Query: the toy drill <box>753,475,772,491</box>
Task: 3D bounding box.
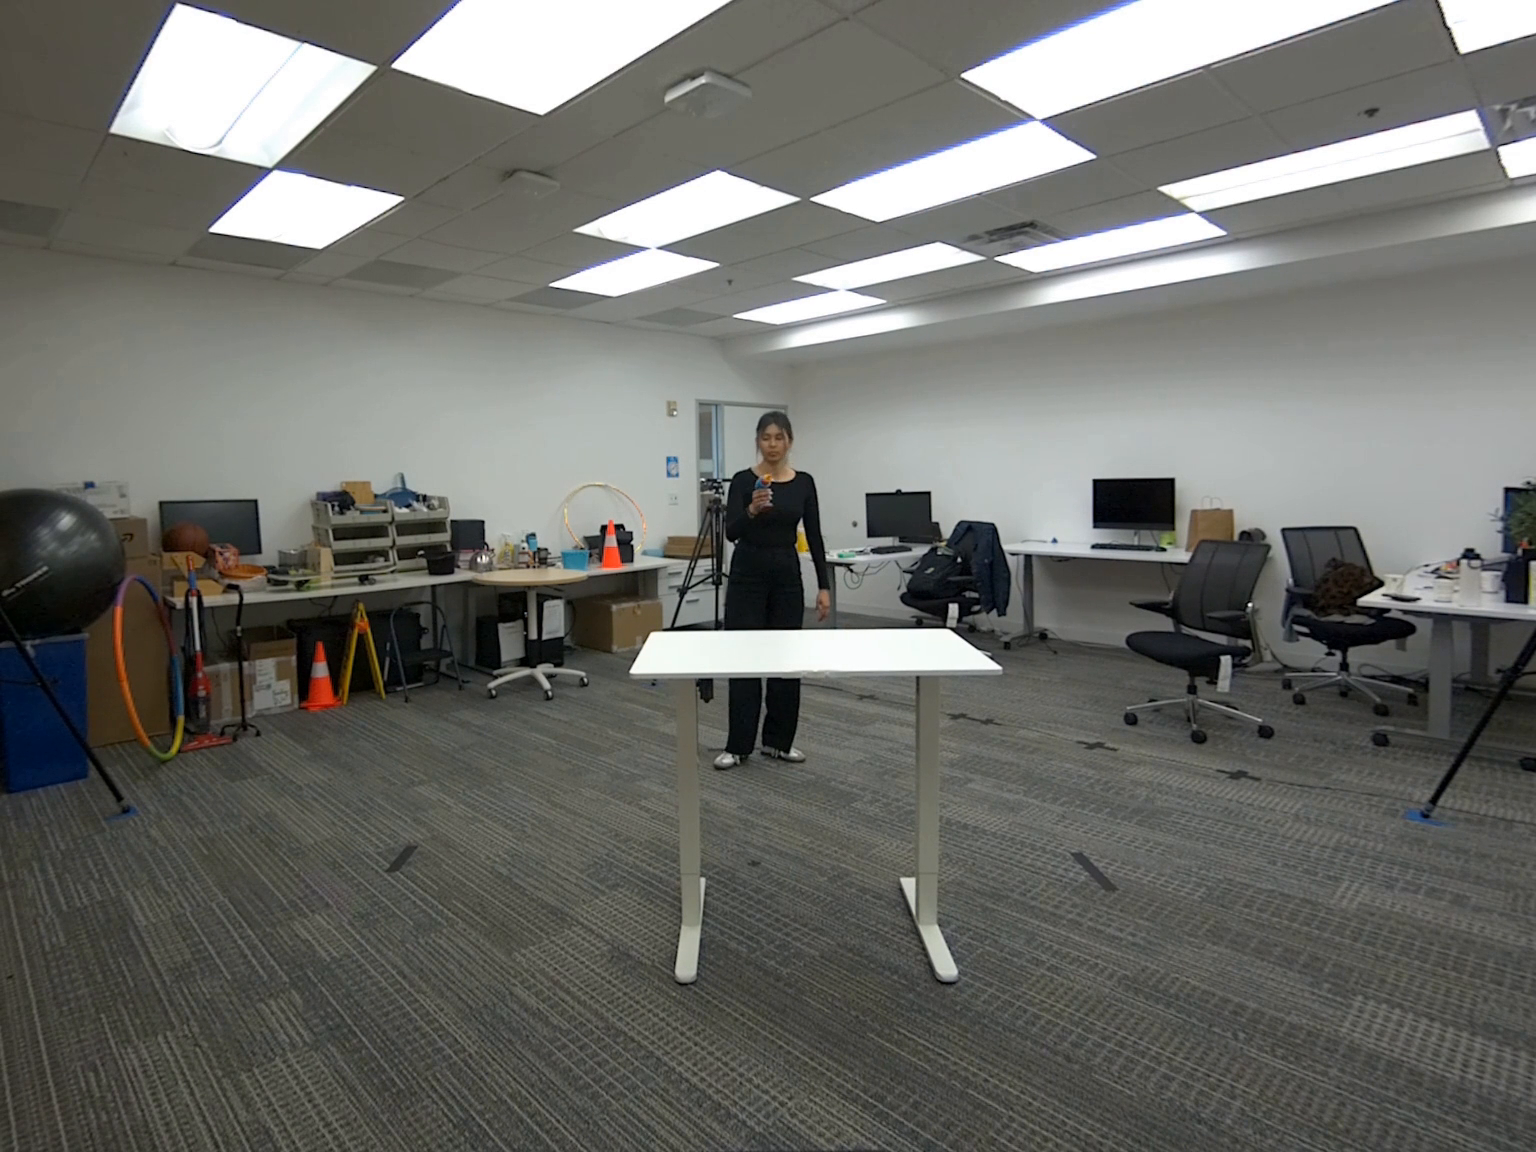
[{"bbox_3d":[0.022,-0.404,3.758,0.145,0.062,0.169,14,-19,-8],"label":"toy drill"}]
